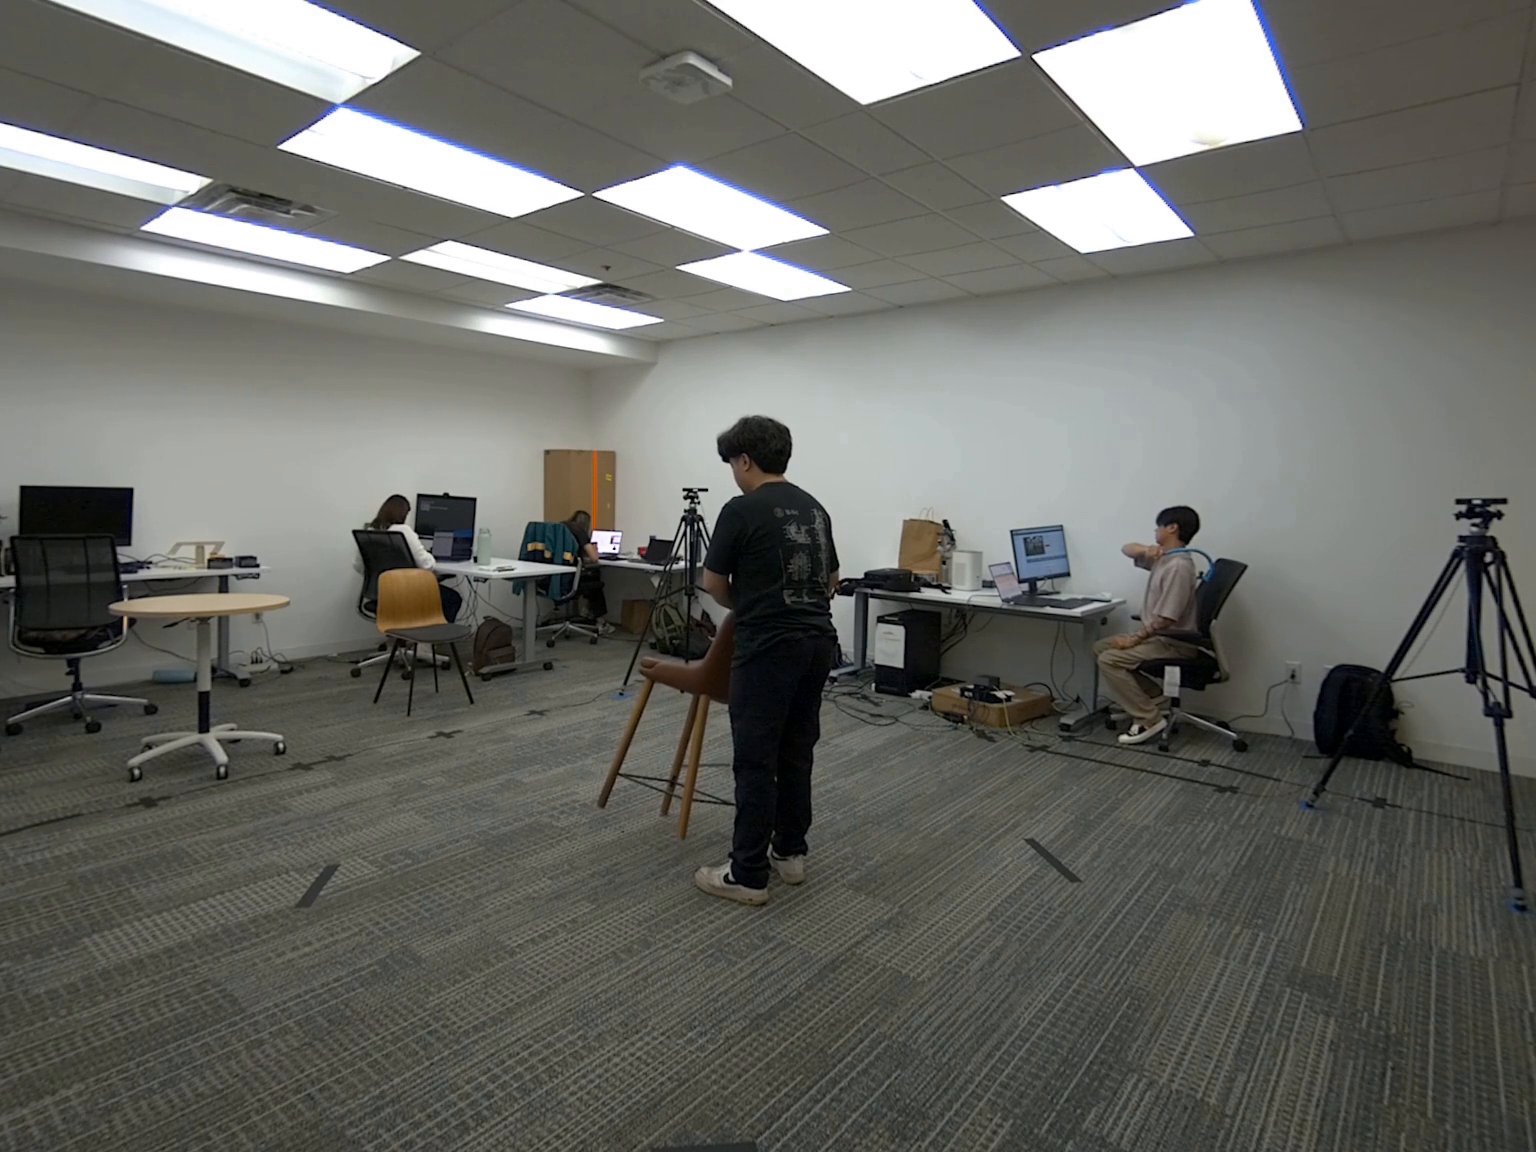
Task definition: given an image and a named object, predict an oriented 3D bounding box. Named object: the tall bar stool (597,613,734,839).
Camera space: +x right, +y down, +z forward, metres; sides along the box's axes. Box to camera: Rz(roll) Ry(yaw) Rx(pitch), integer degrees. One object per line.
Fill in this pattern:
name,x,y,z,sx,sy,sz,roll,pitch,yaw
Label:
tall bar stool,-0.291,0.564,3.430,0.484,0.895,0.438,7,-12,39
